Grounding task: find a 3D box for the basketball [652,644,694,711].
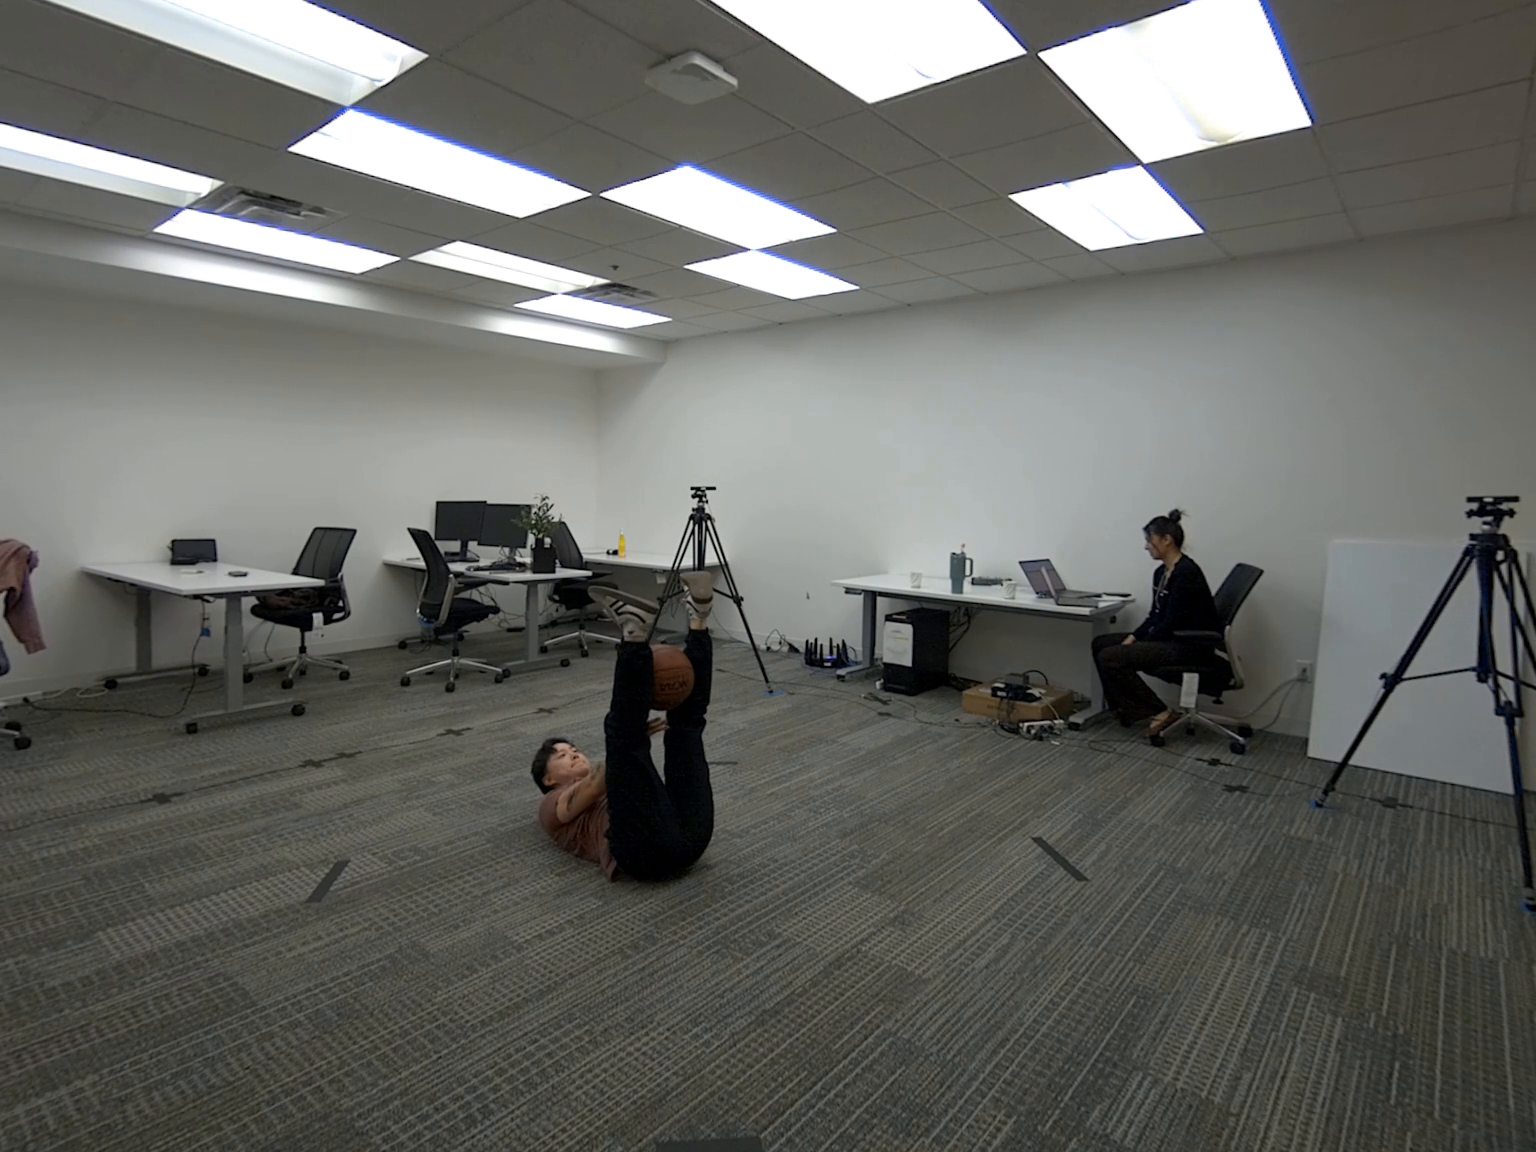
[{"bbox_3d":[-0.388,0.366,3.056,0.235,0.235,0.237,1,5,-2],"label":"basketball"}]
